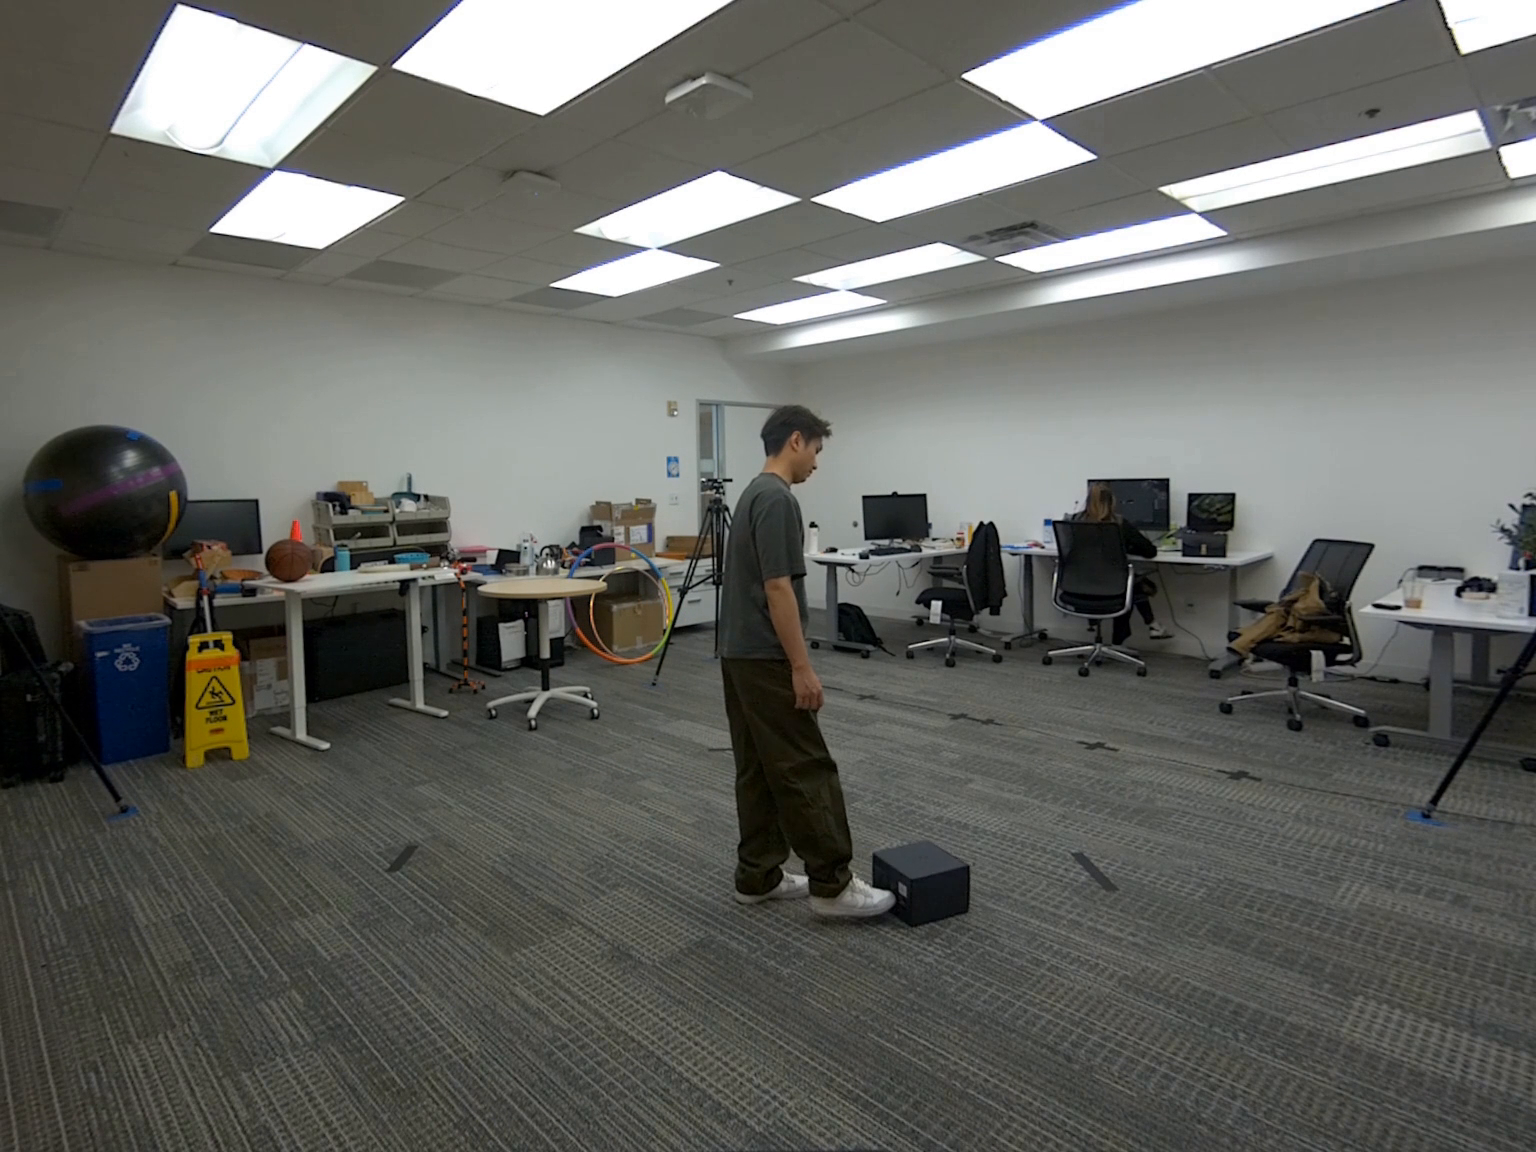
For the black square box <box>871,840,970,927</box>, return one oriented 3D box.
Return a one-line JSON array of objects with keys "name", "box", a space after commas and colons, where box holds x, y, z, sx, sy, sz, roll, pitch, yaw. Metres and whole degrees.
[{"name": "black square box", "box": [0.491, 0.984, 2.772, 0.223, 0.155, 0.222, -4, 6, -26]}]
